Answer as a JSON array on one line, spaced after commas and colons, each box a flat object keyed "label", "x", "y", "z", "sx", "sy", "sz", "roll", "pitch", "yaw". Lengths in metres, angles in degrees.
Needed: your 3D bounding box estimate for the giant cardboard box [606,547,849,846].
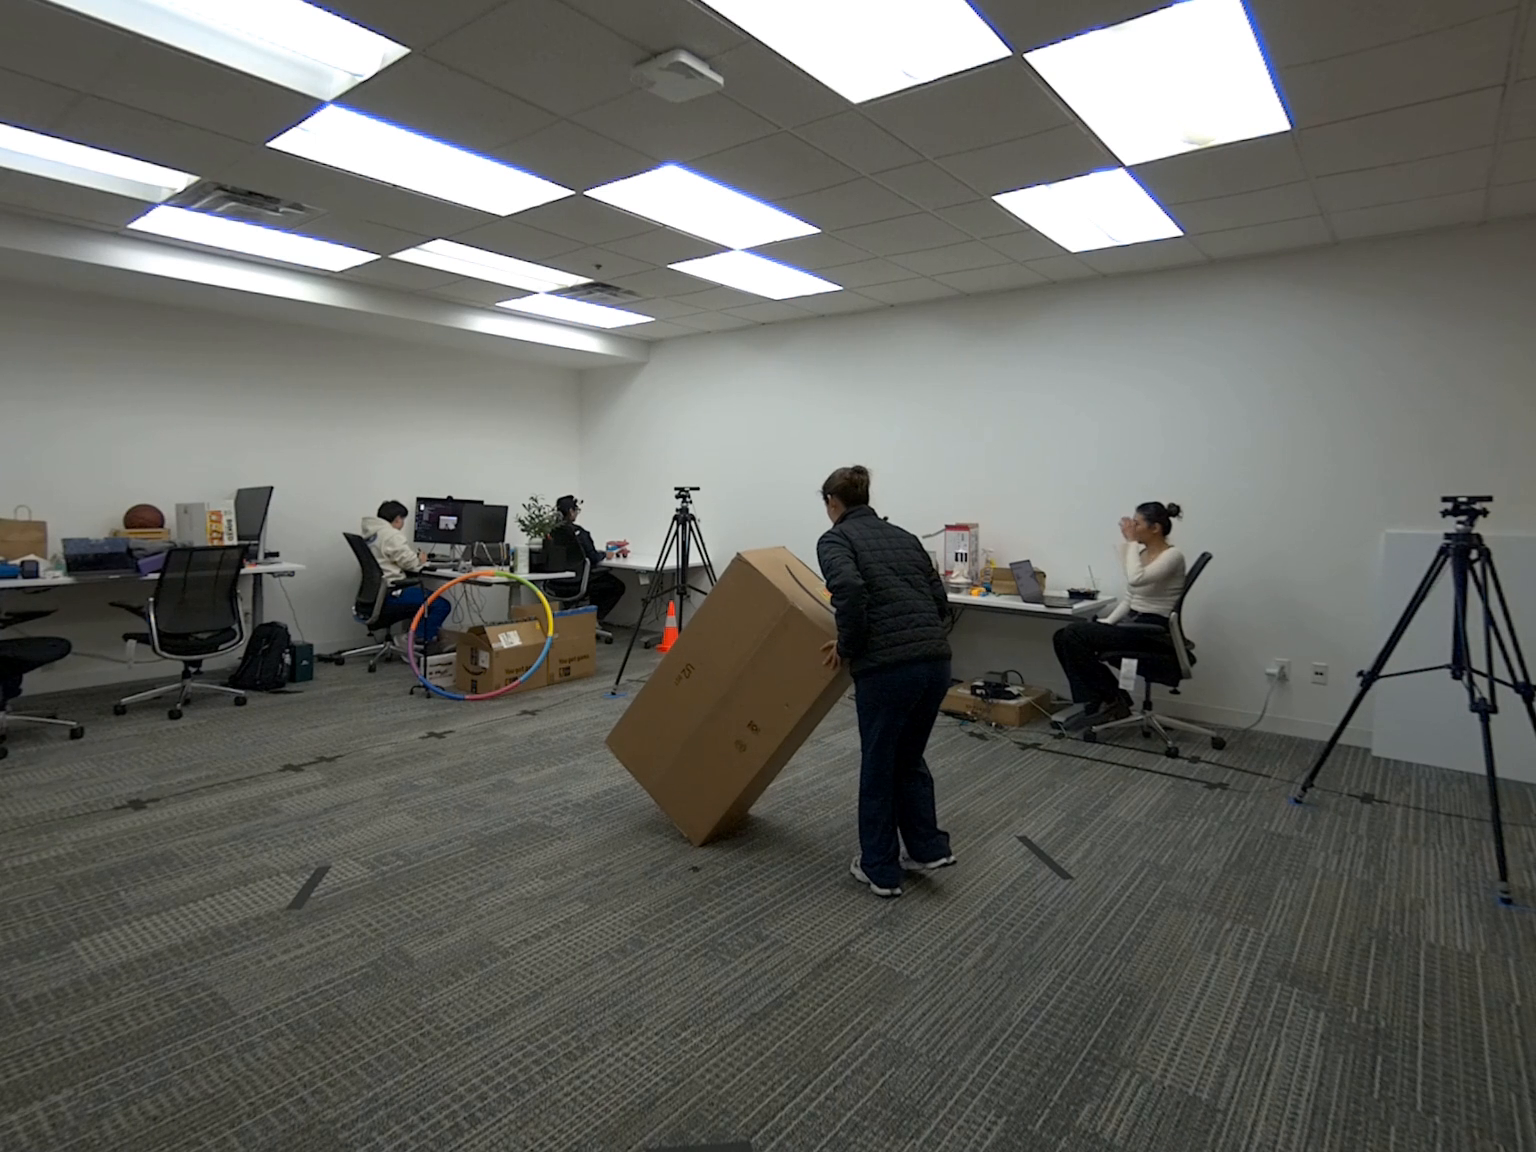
[{"label": "giant cardboard box", "x": -0.085, "y": 0.461, "z": 3.421, "sx": 0.601, "sy": 1.024, "sz": 0.435, "roll": 43, "pitch": 20, "yaw": 21}]
